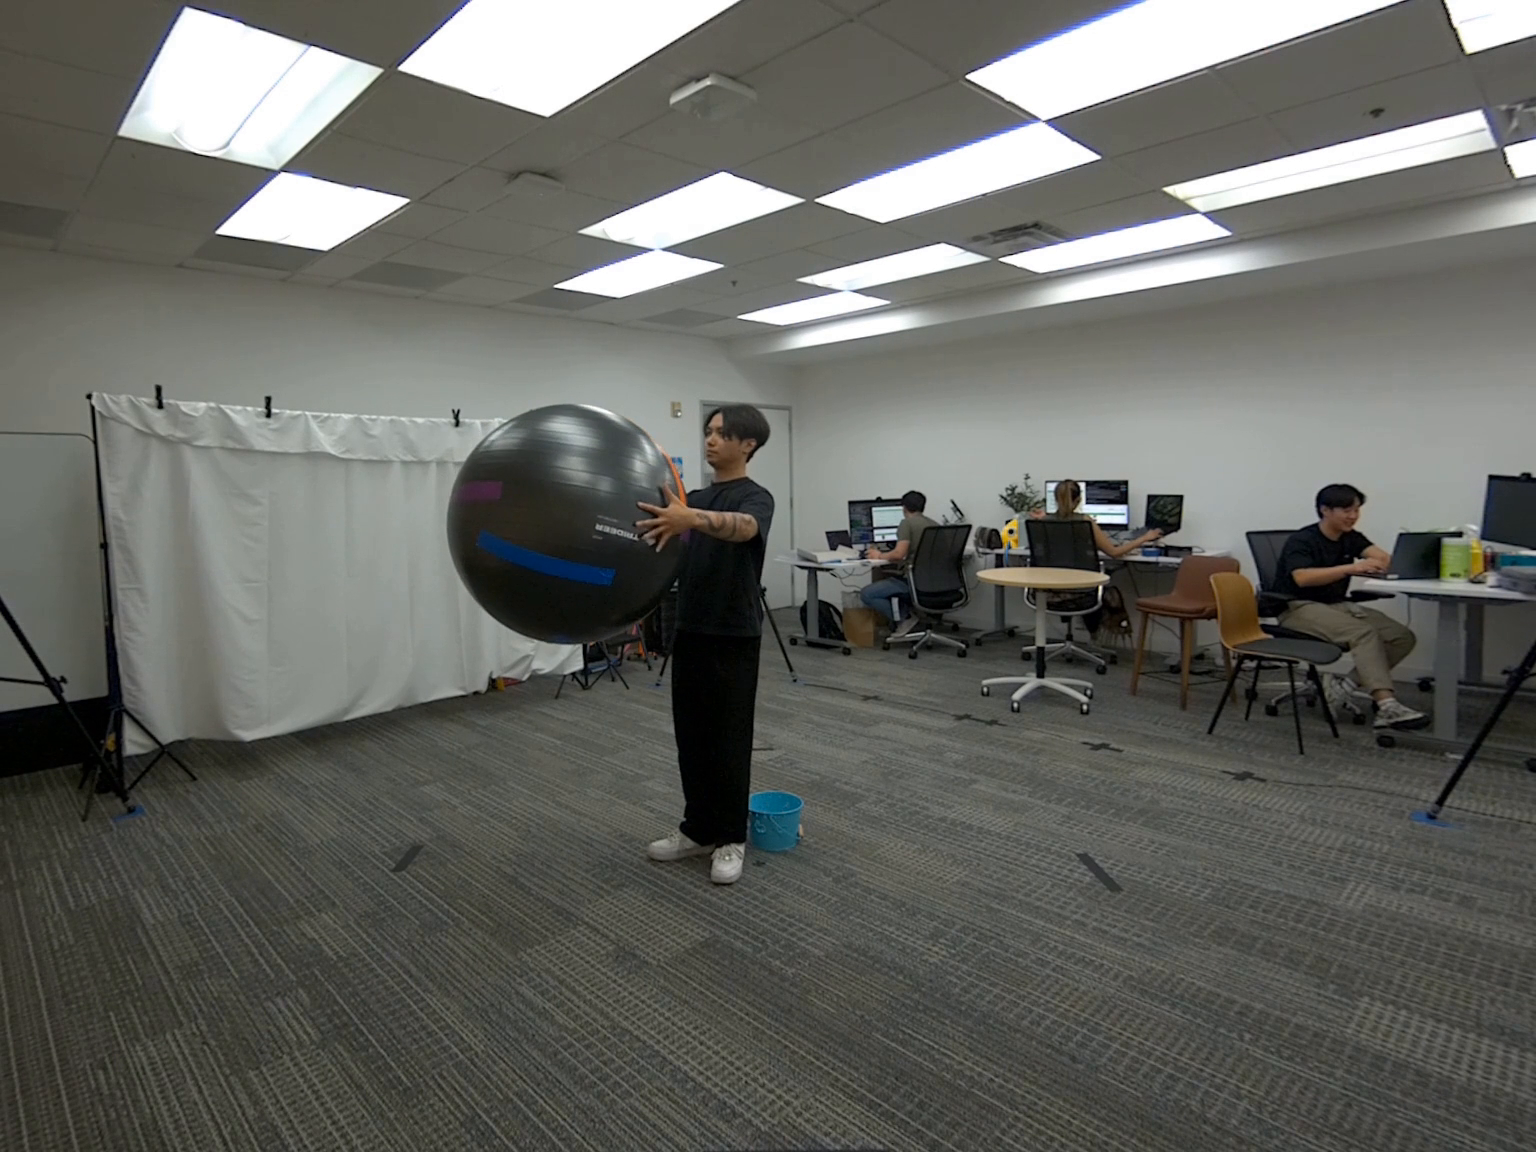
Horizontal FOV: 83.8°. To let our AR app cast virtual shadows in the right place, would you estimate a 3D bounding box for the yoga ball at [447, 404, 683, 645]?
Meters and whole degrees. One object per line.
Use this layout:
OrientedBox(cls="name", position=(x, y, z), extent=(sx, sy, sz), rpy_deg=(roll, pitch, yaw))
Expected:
OrientedBox(cls="yoga ball", position=(-0.633, -0.161, 2.736), extent=(0.757, 0.755, 0.762), rpy_deg=(-1, 5, -2))
